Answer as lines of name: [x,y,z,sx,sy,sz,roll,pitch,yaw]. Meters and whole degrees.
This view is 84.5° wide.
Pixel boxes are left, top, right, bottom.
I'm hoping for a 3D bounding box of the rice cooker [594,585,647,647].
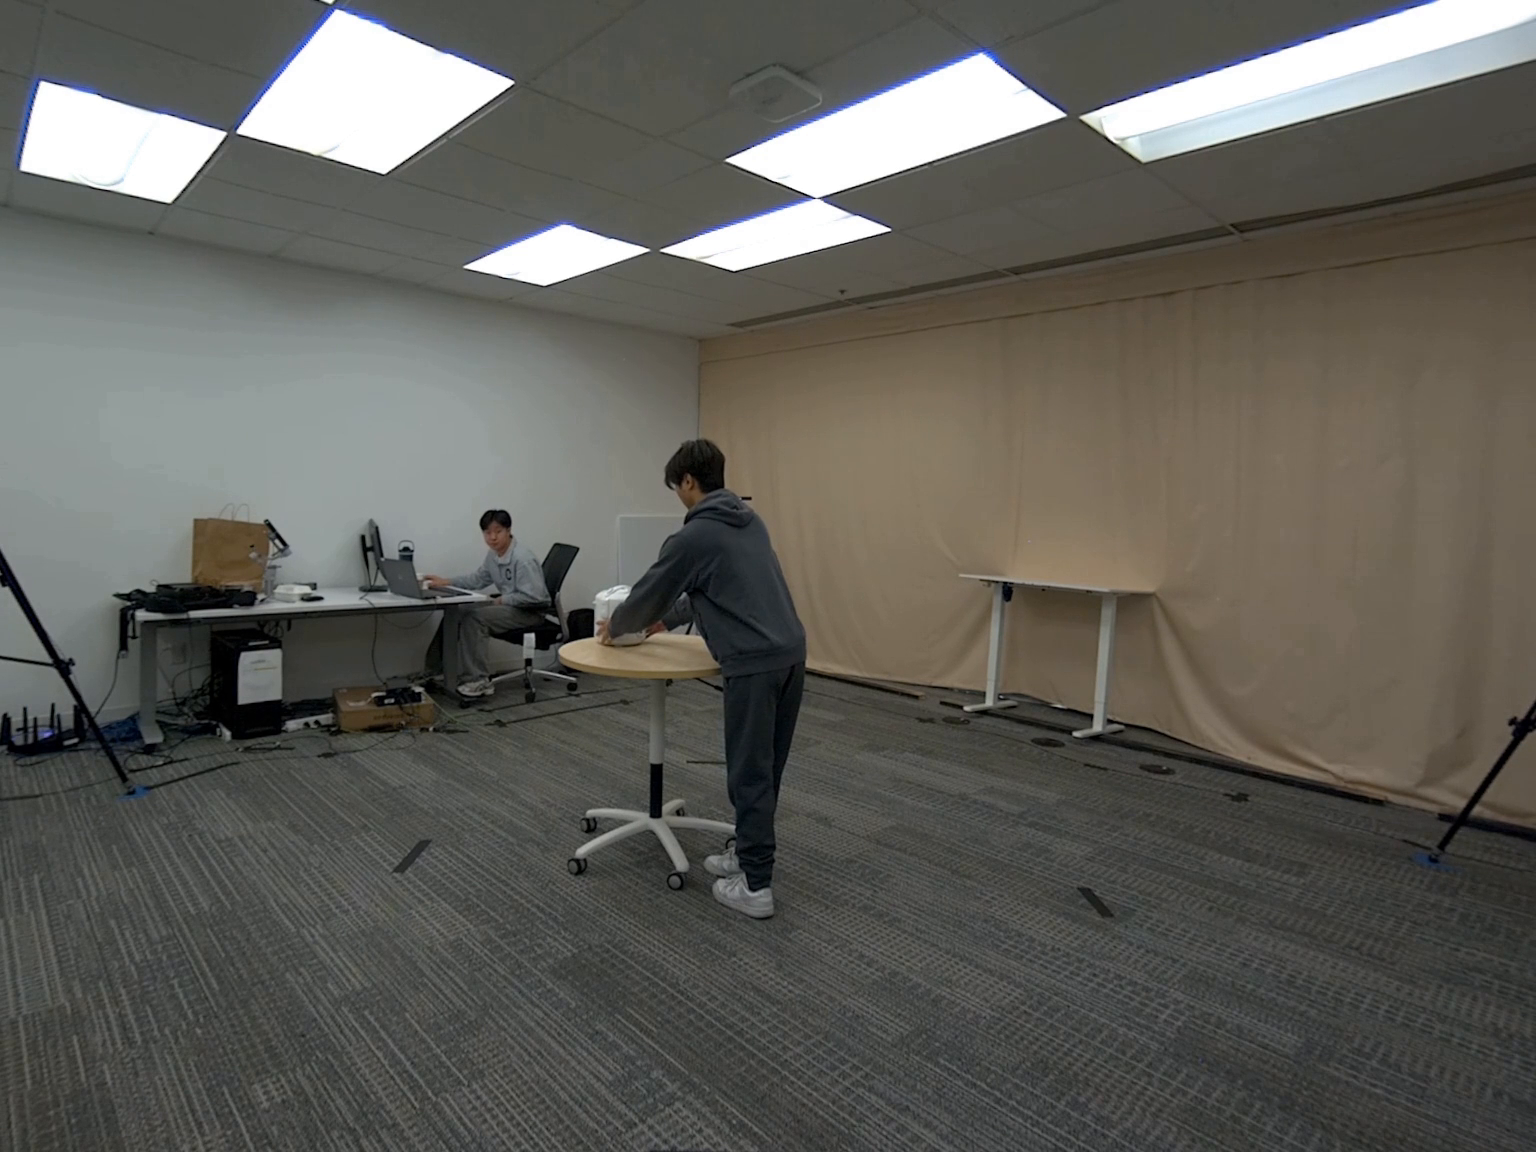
rice cooker: [-0.602,0.156,3.394,0.222,0.232,0.216,4,5,29]
